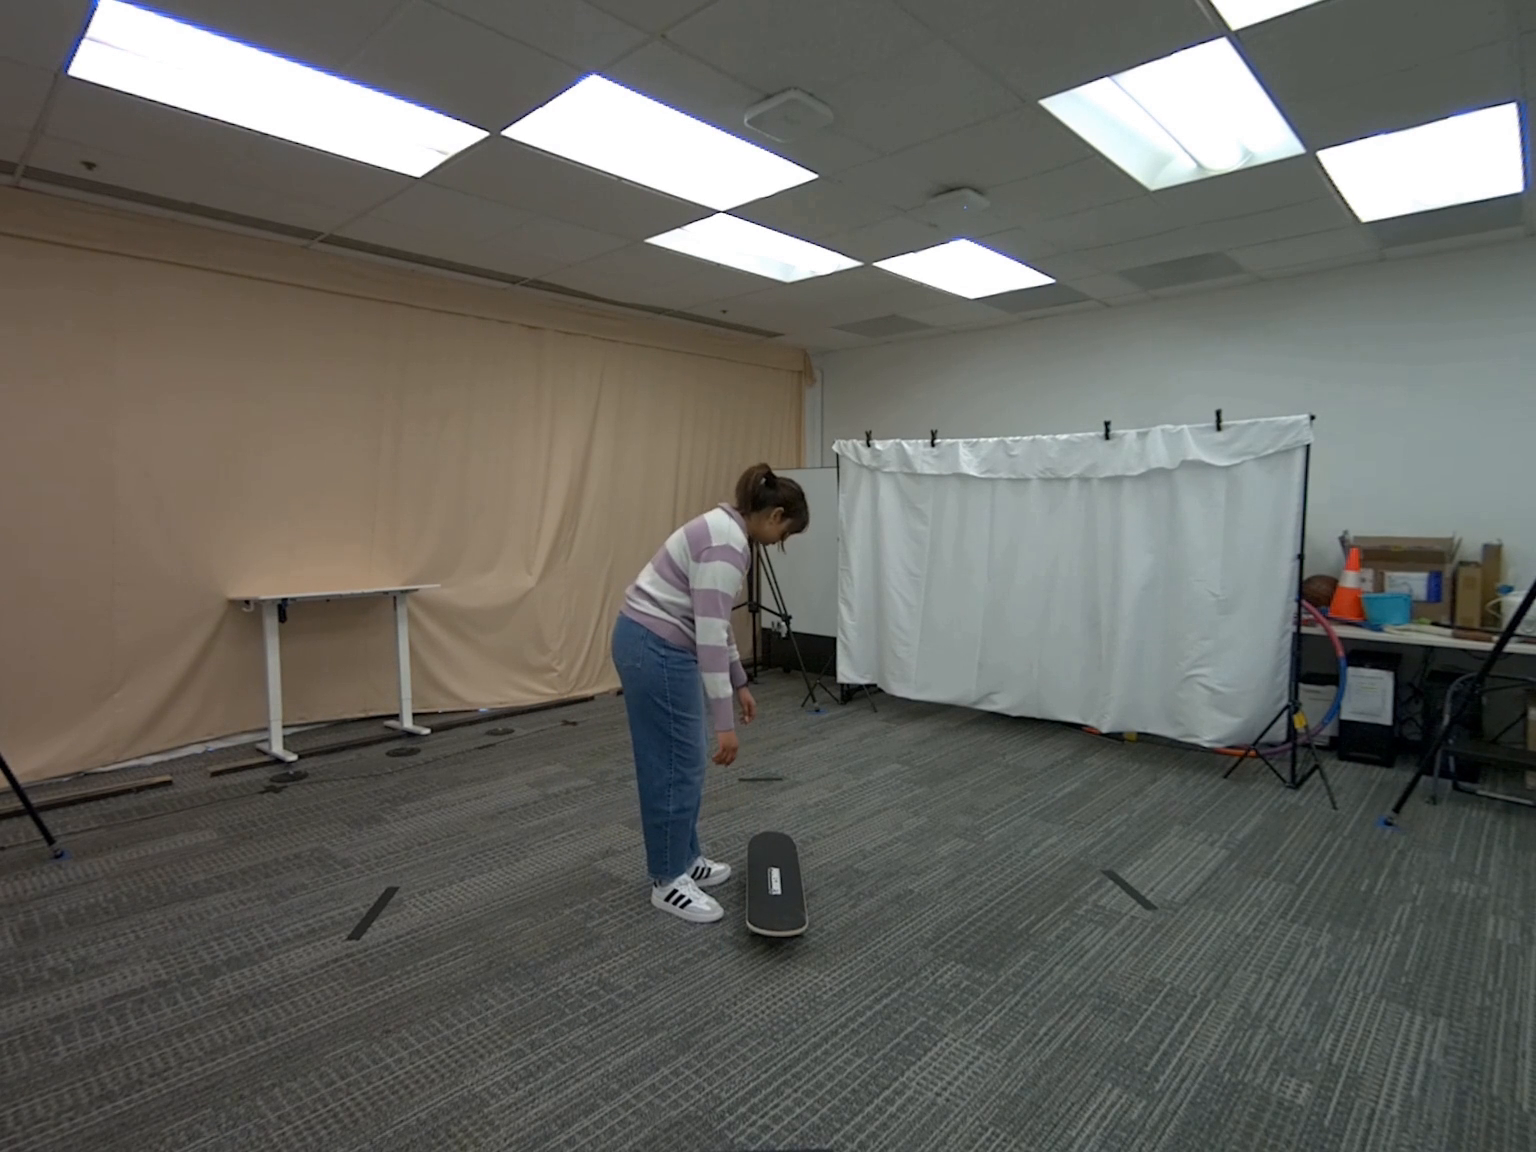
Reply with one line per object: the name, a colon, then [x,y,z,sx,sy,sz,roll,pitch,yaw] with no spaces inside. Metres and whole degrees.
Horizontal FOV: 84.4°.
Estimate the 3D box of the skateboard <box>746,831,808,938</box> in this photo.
skateboard: [0.024,1.087,2.927,0.194,0.110,0.787,-1,5,-1]
